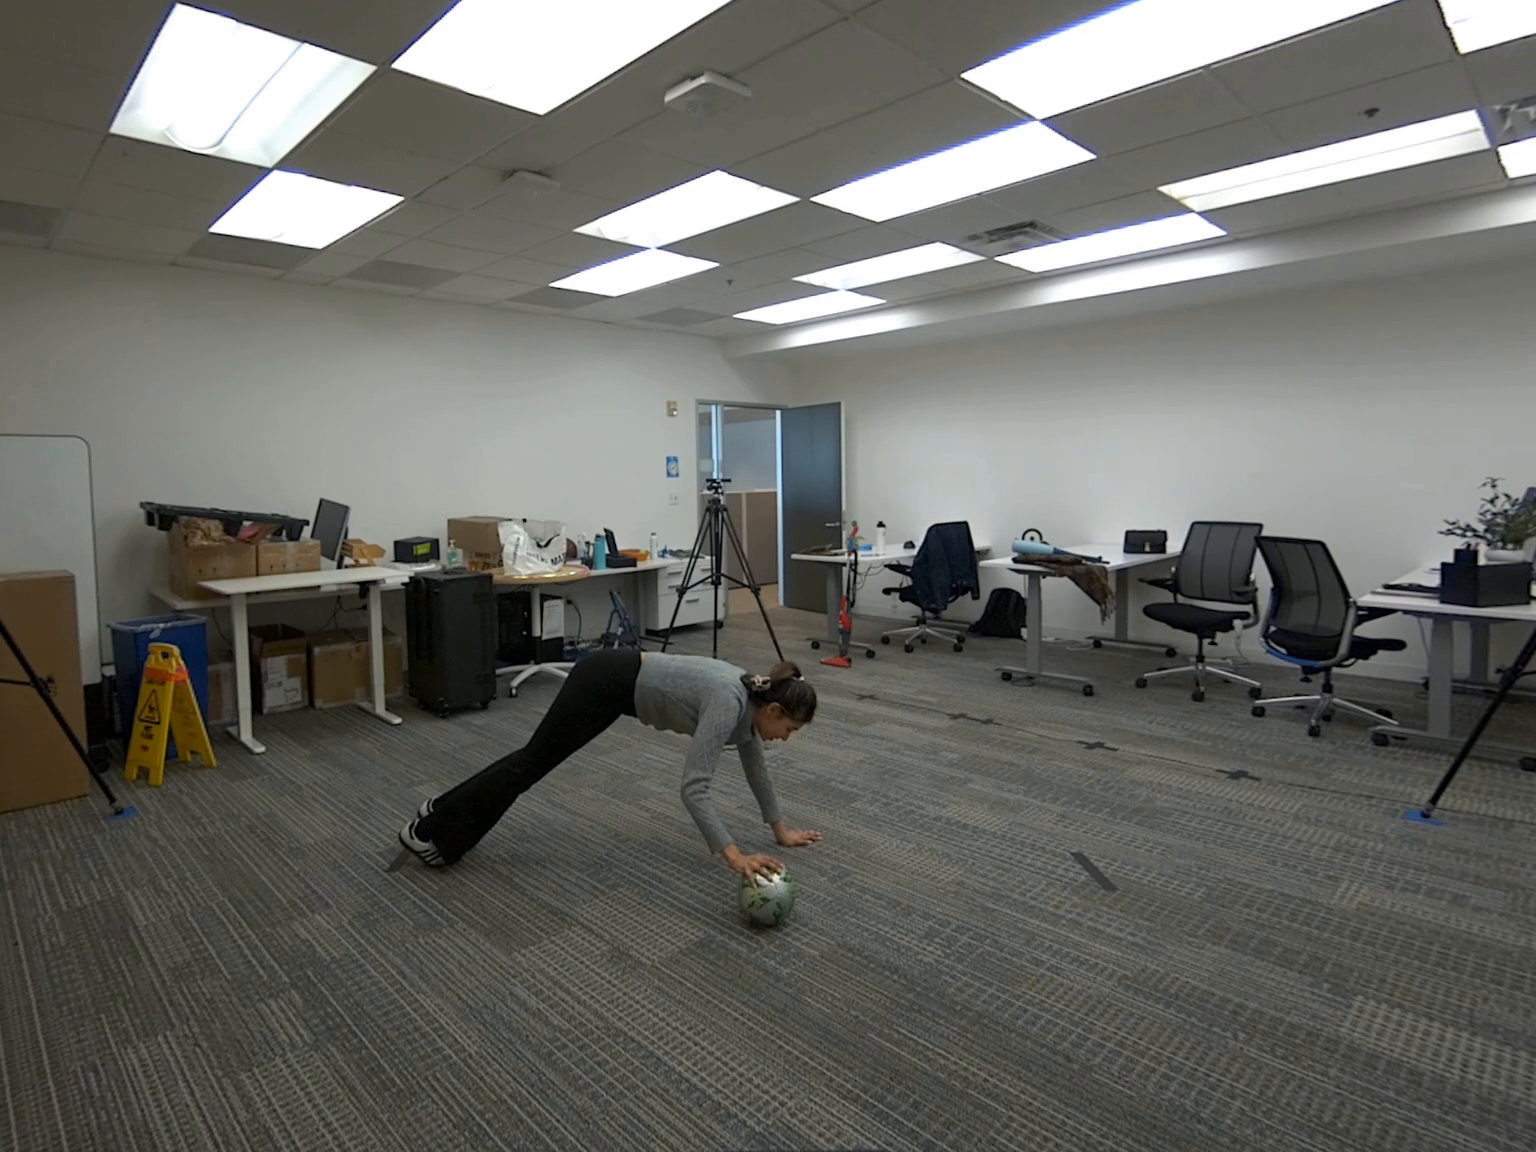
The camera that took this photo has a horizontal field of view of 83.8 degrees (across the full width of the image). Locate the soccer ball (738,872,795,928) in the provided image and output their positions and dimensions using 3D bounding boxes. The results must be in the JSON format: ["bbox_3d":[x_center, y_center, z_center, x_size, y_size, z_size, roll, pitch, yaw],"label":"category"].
[{"bbox_3d":[-0.008,1.007,2.699,0.187,0.187,0.188,-1,5,-2],"label":"soccer ball"}]
